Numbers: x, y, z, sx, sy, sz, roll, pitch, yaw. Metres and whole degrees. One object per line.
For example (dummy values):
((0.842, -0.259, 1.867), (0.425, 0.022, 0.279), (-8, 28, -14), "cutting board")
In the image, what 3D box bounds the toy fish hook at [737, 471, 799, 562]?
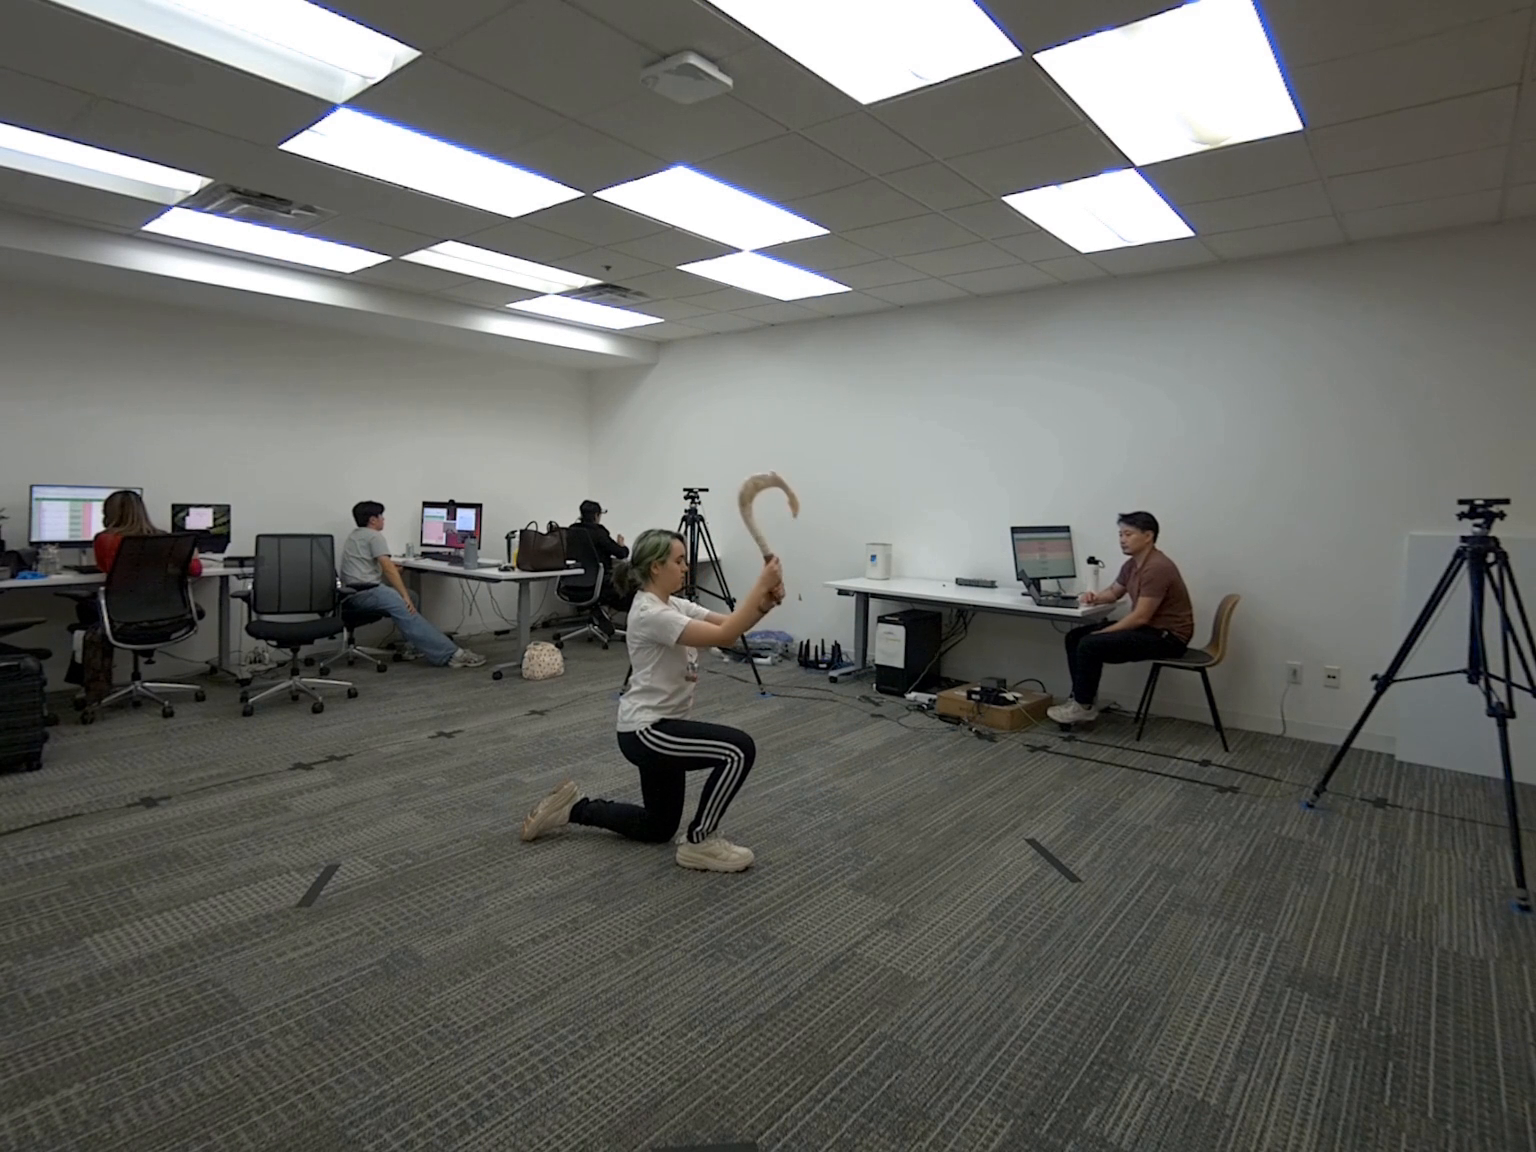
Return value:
((0.013, -0.128, 3.218), (0.227, 0.504, 0.048), (-11, 4, 15), "toy fish hook")
